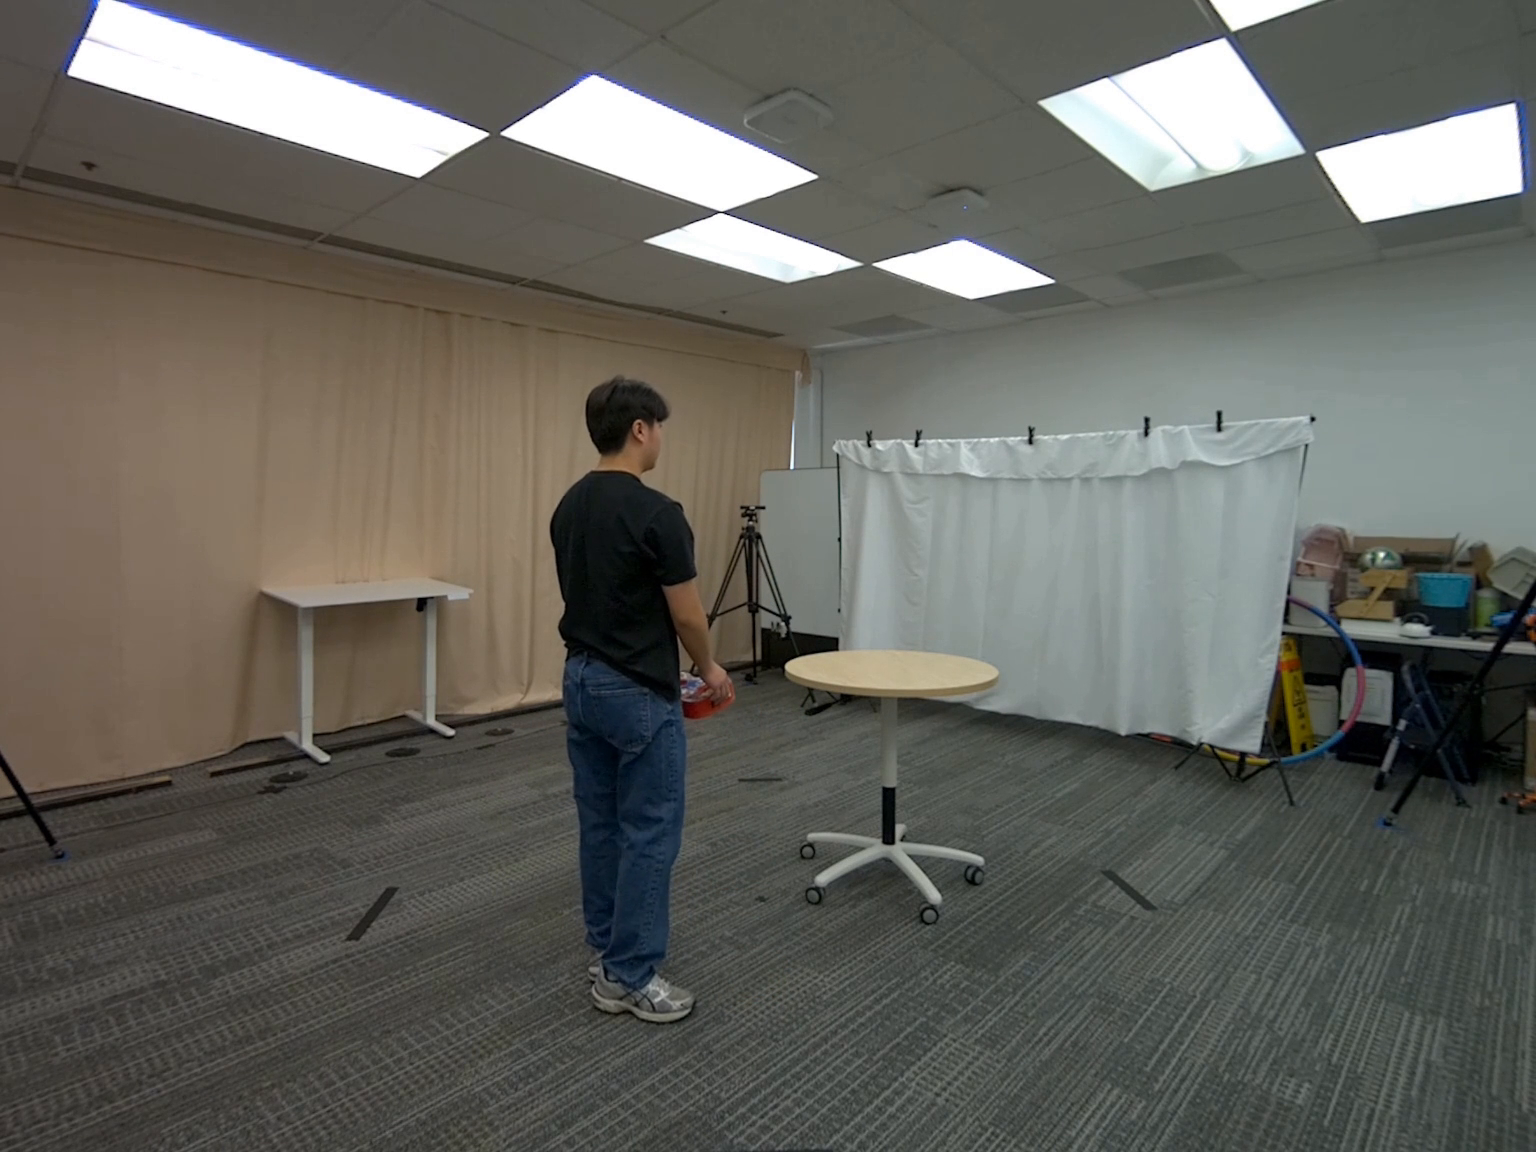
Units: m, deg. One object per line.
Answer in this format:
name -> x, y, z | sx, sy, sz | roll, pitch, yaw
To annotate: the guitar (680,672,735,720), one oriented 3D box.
guitar -> -0.306, 0.354, 2.772 | 0.189, 0.070, 0.514 | -18, 18, -32
